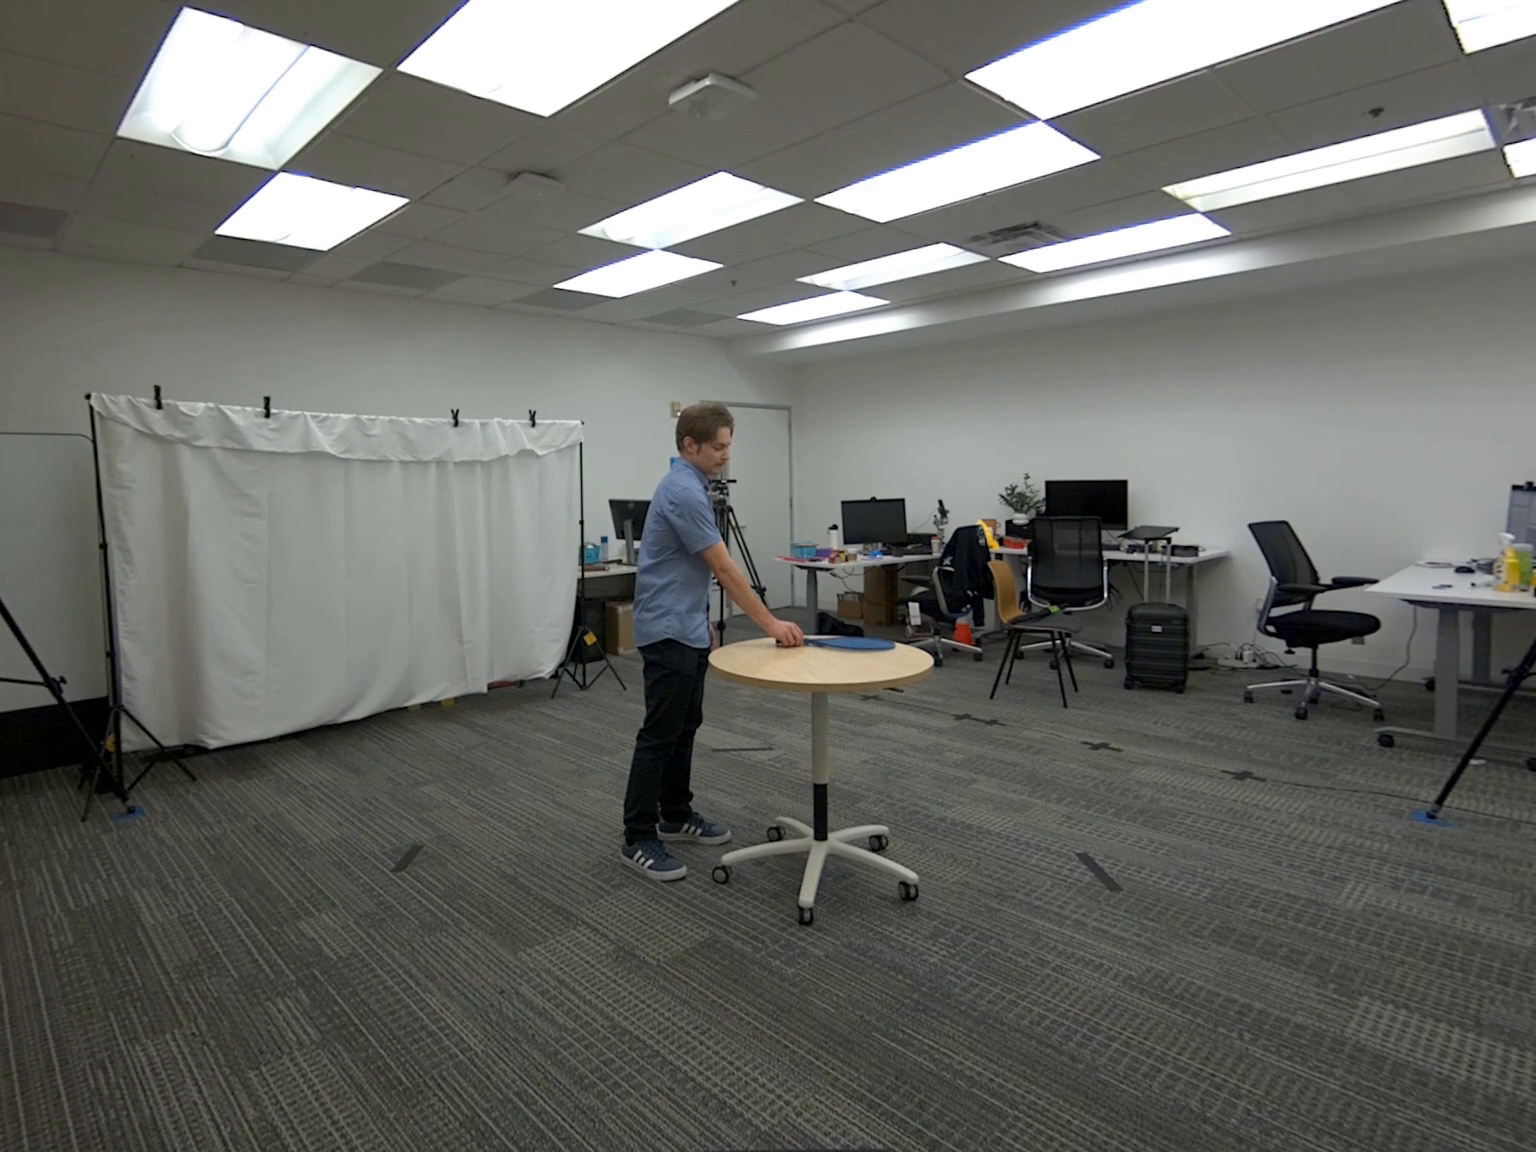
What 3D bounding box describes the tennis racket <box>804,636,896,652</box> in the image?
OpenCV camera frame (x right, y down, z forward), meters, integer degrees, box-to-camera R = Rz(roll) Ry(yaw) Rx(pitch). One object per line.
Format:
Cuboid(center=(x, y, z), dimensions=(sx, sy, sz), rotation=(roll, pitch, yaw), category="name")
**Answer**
Cuboid(center=(0.245, 0.244, 3.130), dimensions=(0.436, 0.031, 0.213), rotation=(2, 6, 7), category="tennis racket")
